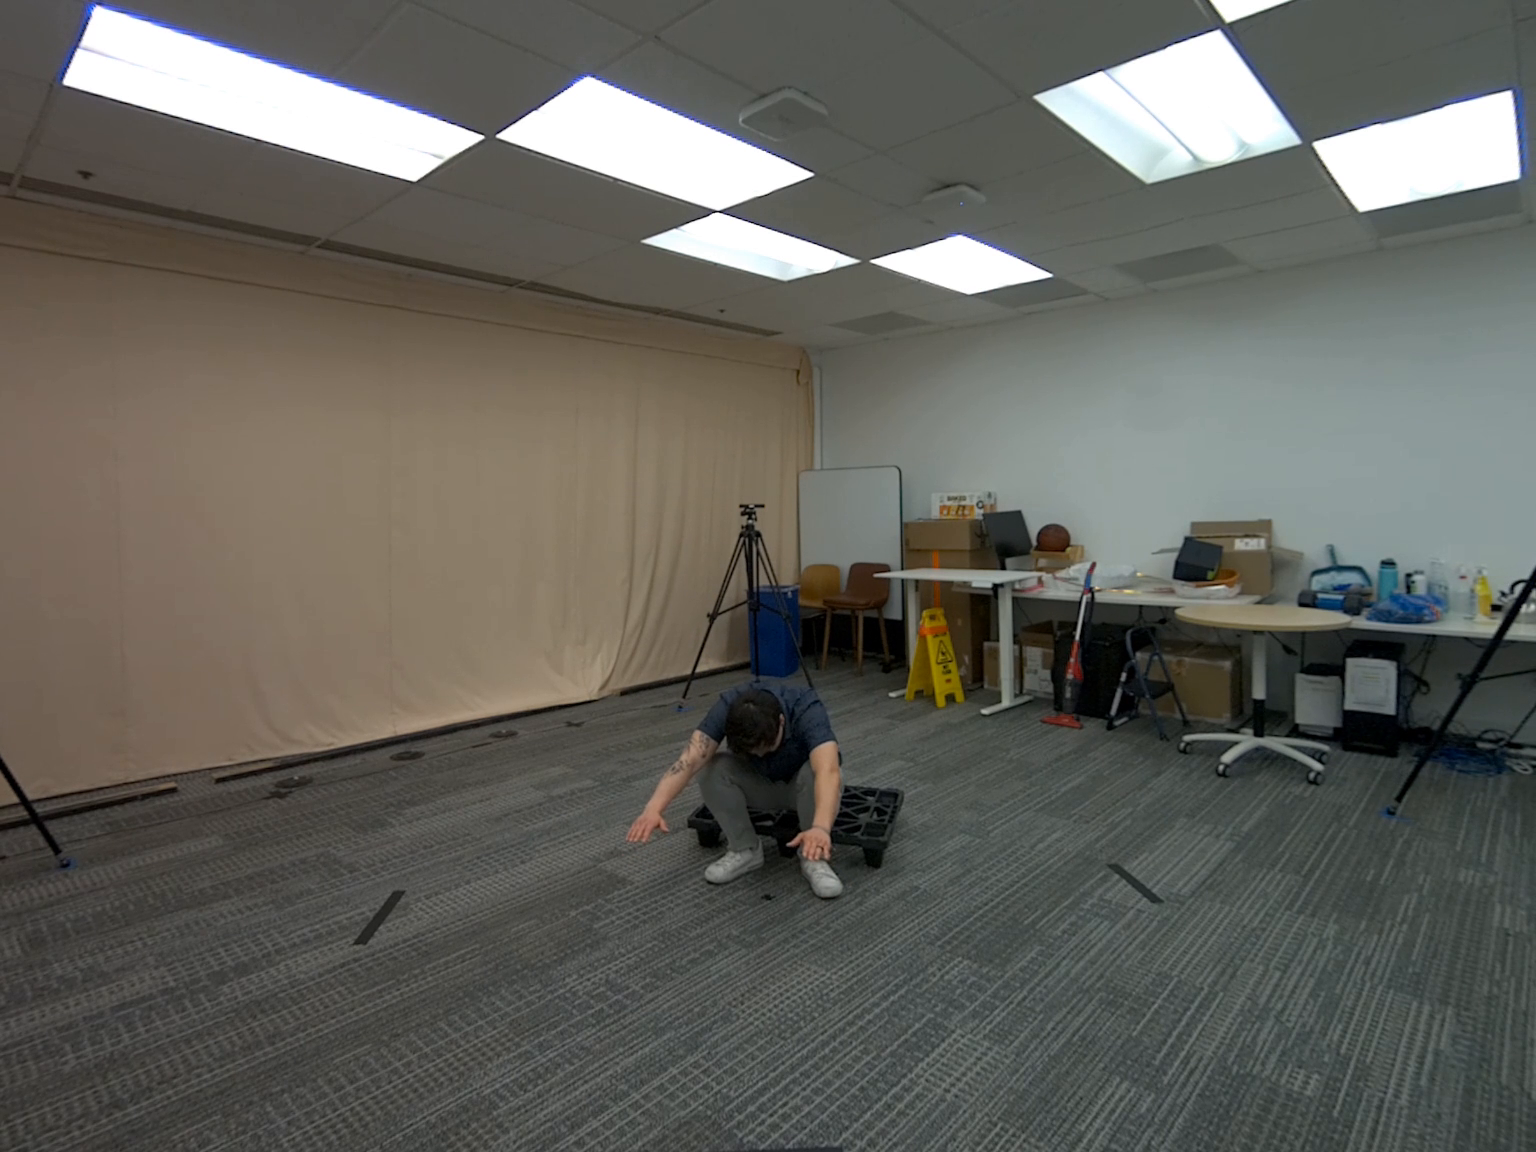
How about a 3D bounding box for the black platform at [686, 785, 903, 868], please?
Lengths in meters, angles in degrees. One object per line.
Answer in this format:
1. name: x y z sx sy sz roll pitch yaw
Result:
1. black platform: 0.141 1.024 3.532 0.821 0.143 0.595 0 5 17
